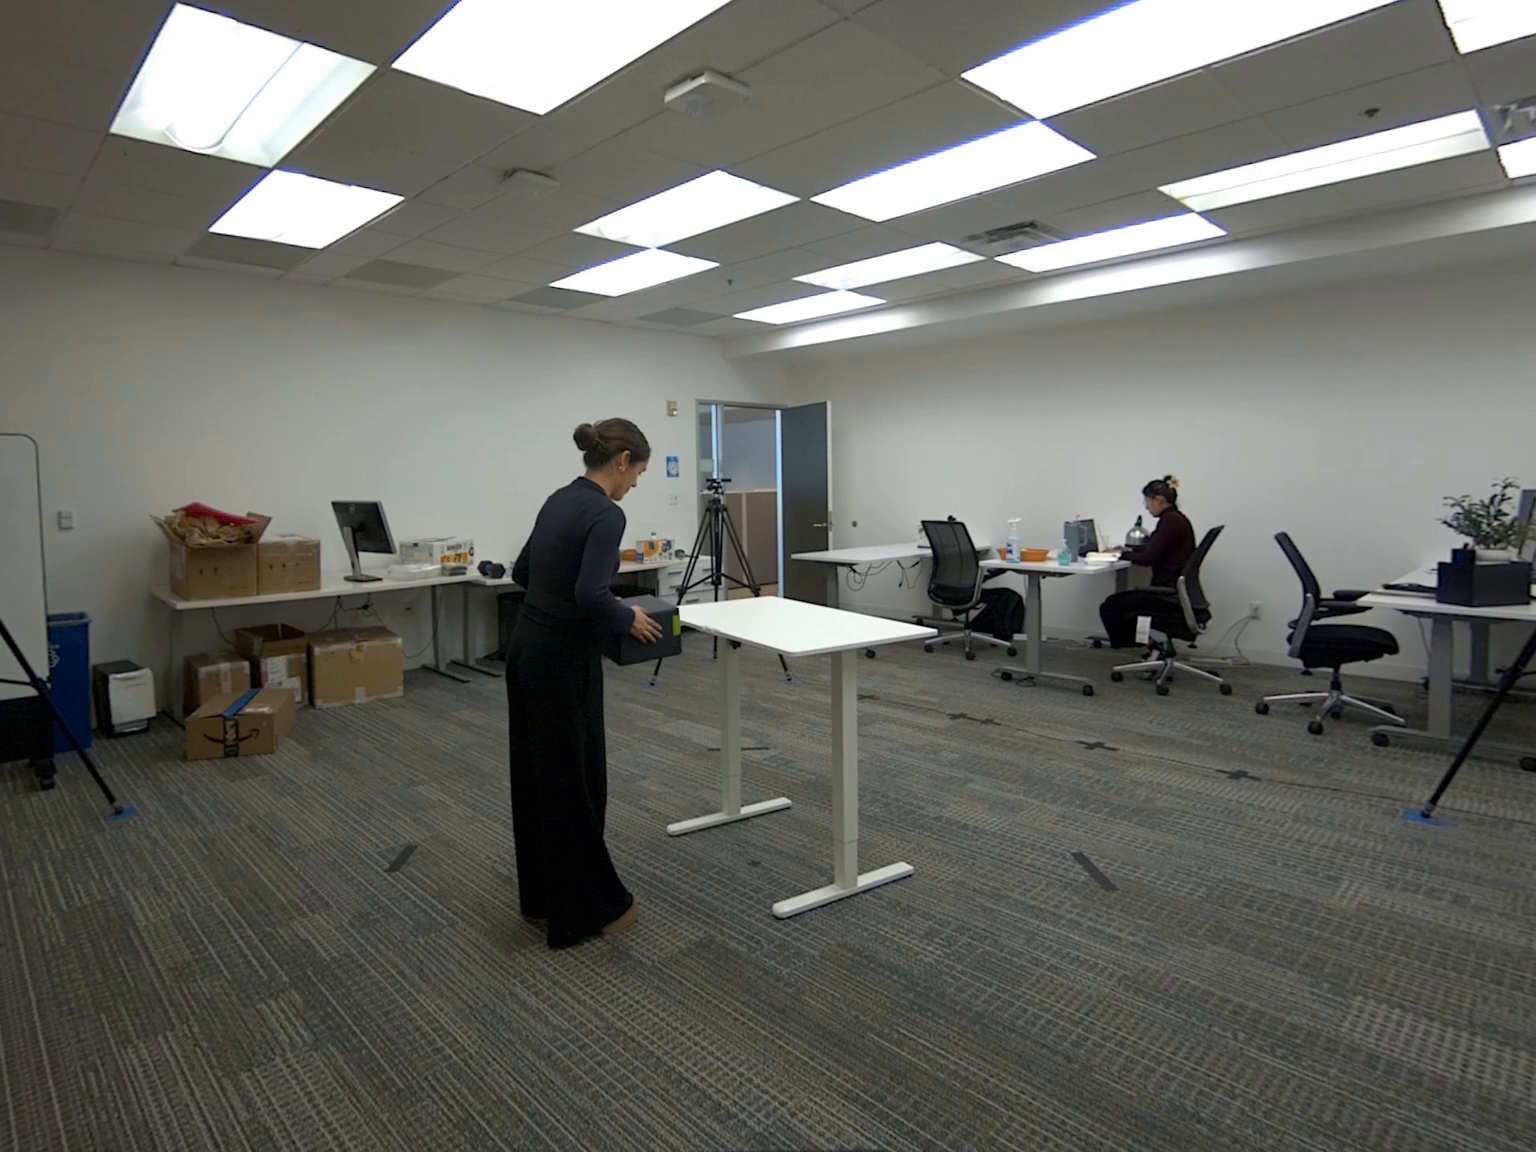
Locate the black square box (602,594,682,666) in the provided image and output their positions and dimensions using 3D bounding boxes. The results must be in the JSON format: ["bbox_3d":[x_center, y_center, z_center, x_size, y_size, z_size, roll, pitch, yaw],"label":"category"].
[{"bbox_3d":[-0.425,0.176,2.781,0.212,0.154,0.235,-9,13,-32],"label":"black square box"}]
